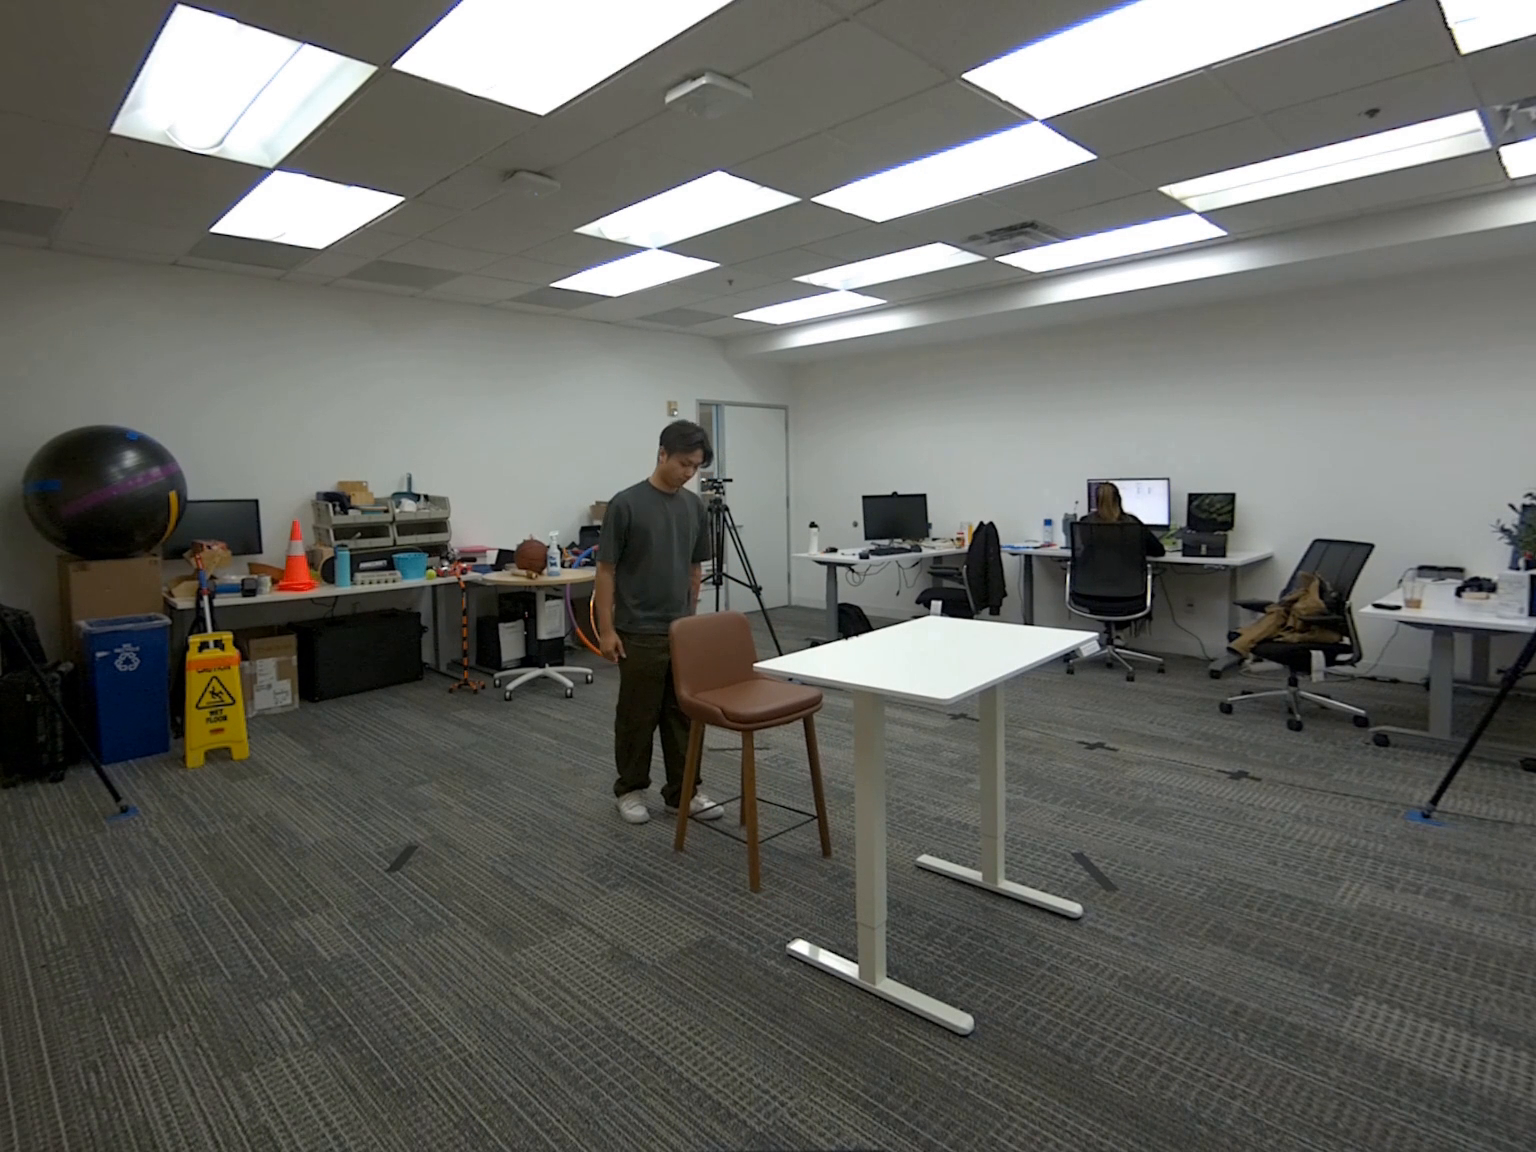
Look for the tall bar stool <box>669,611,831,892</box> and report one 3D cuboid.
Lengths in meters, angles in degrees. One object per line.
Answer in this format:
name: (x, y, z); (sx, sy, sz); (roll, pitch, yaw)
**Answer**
tall bar stool: (-0.074, 0.602, 3.167); (0.444, 0.888, 0.481); (-4, 3, -44)
